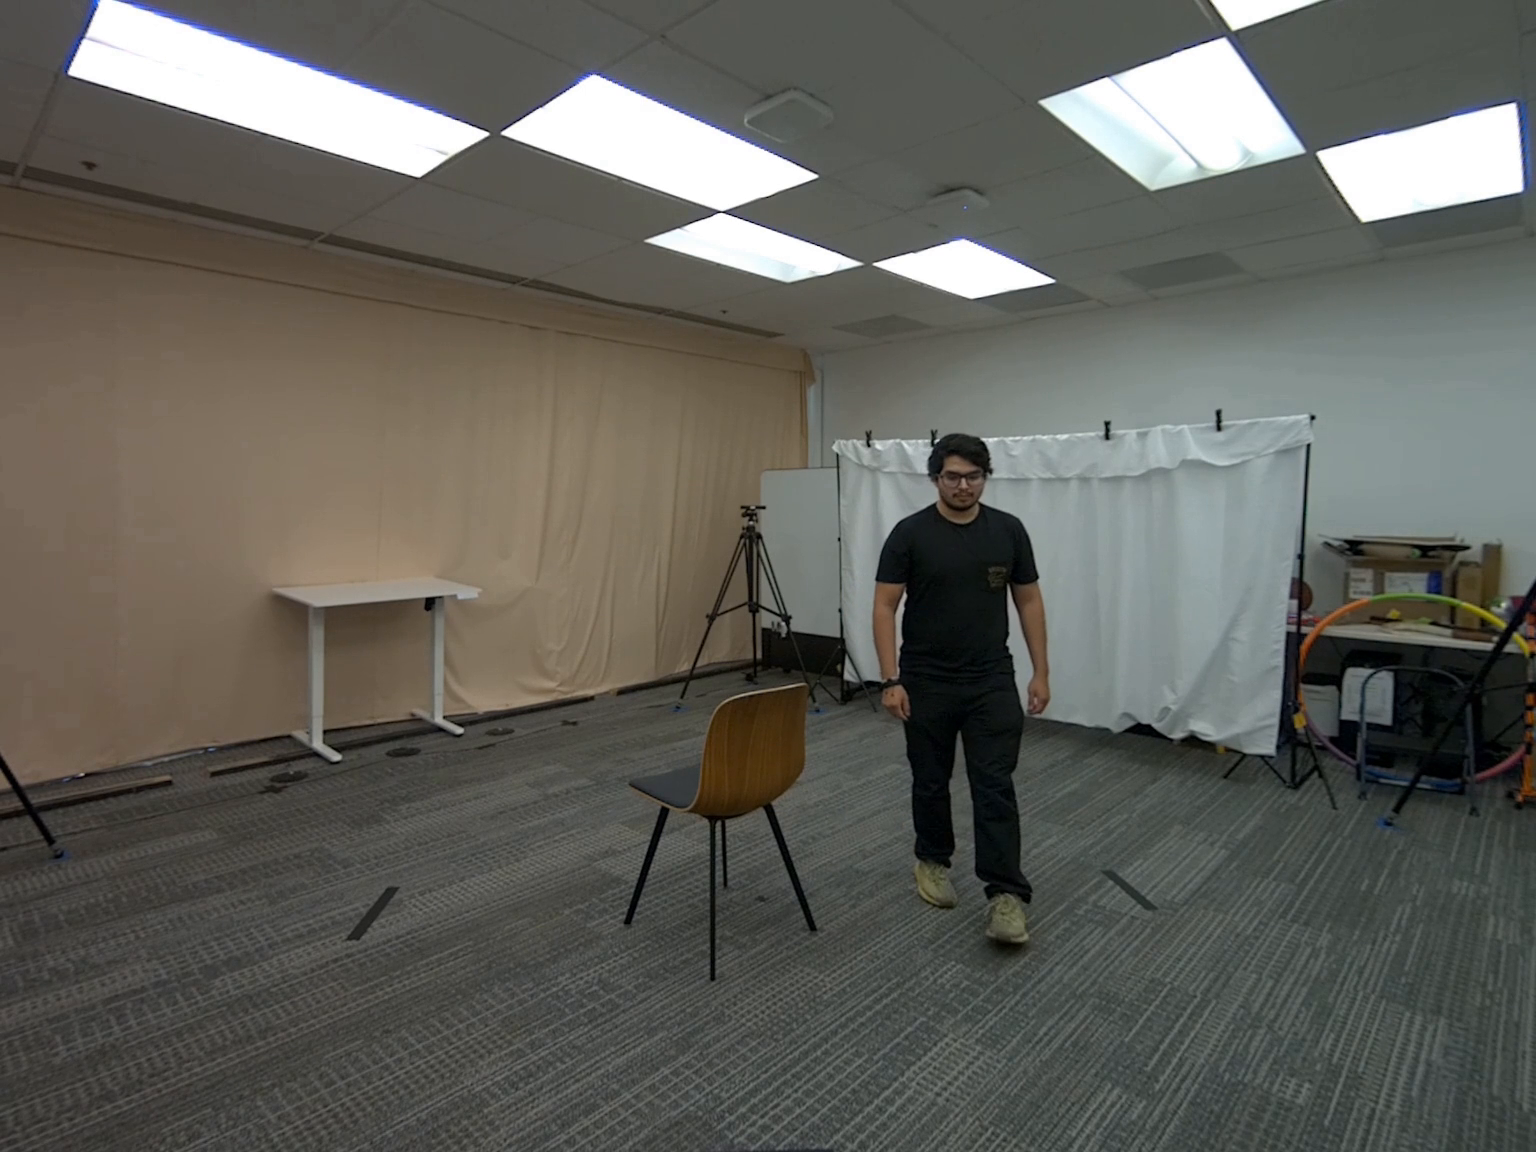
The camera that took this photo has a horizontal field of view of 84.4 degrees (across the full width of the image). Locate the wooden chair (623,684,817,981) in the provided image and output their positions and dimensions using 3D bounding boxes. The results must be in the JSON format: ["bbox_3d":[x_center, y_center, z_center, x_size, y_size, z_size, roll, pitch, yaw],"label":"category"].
[{"bbox_3d":[-0.164,0.739,2.753,0.463,0.874,0.541,-3,9,-42],"label":"wooden chair"}]
